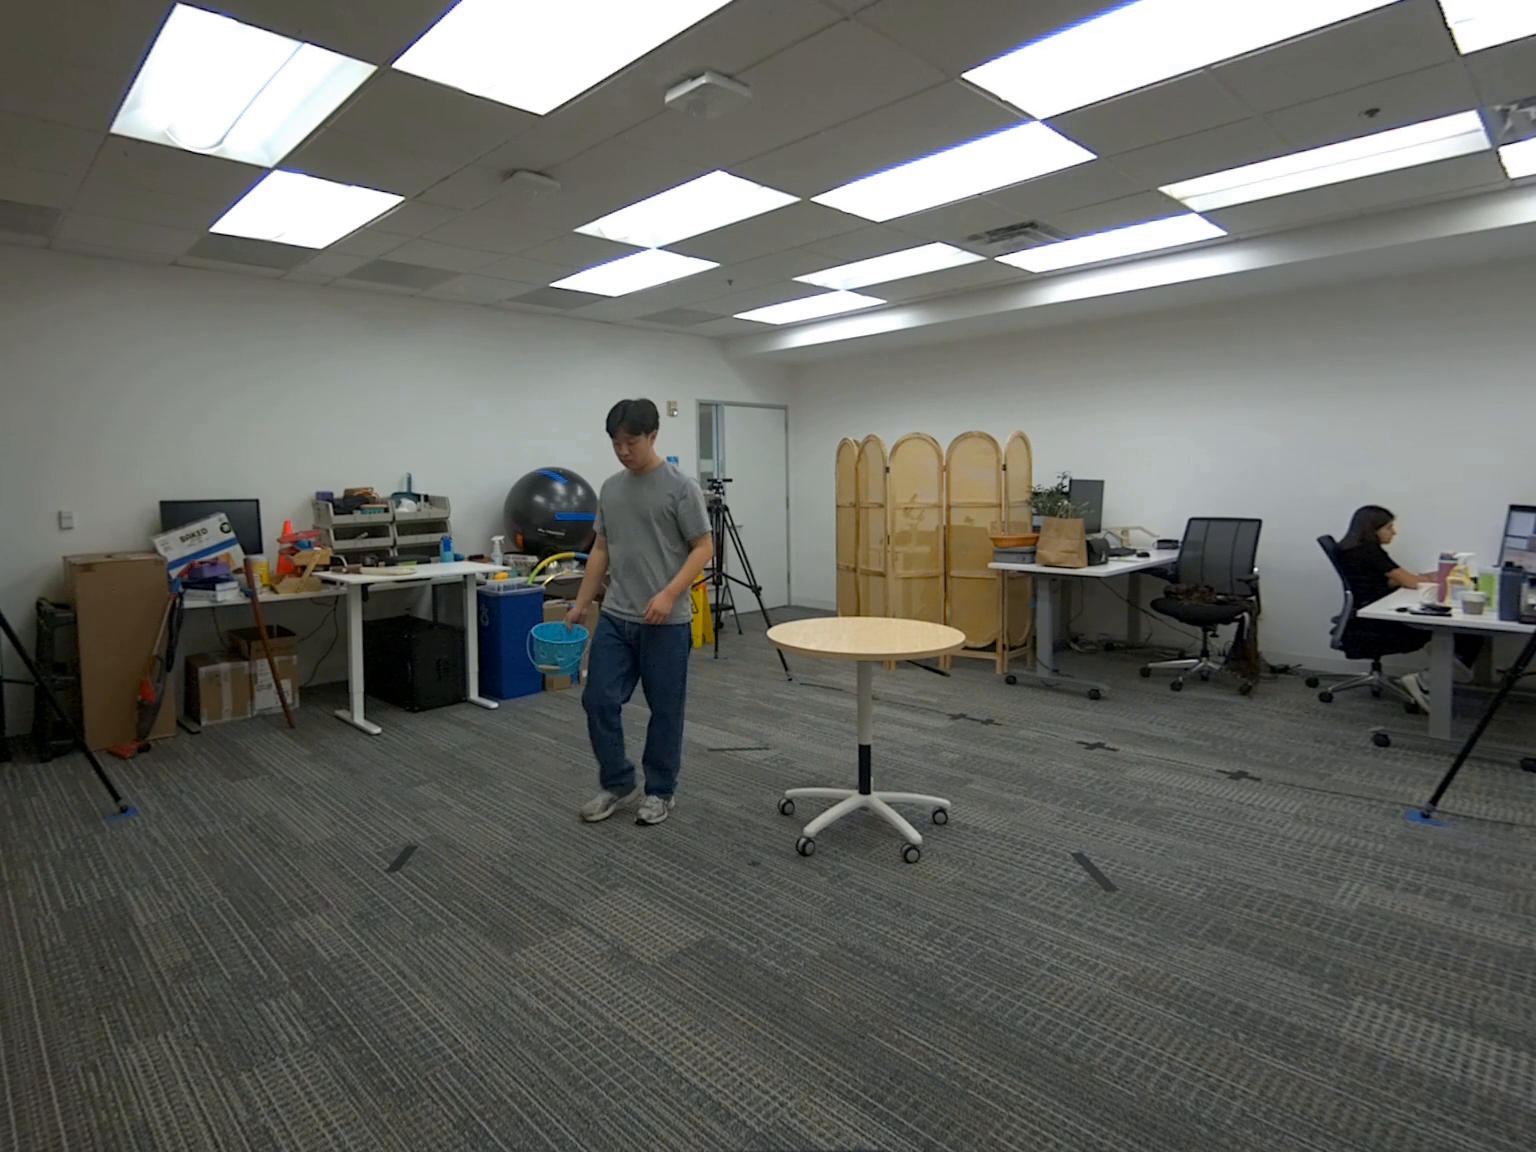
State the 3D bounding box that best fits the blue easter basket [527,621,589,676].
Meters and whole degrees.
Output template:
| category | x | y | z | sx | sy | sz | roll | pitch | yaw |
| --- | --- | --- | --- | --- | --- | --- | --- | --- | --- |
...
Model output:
| category | x | y | z | sx | sy | sz | roll | pitch | yaw |
| --- | --- | --- | --- | --- | --- | --- | --- | --- | --- |
| blue easter basket | -0.851 | 0.308 | 3.475 | 0.243 | 0.154 | 0.247 | 5 | 14 | -3 |
